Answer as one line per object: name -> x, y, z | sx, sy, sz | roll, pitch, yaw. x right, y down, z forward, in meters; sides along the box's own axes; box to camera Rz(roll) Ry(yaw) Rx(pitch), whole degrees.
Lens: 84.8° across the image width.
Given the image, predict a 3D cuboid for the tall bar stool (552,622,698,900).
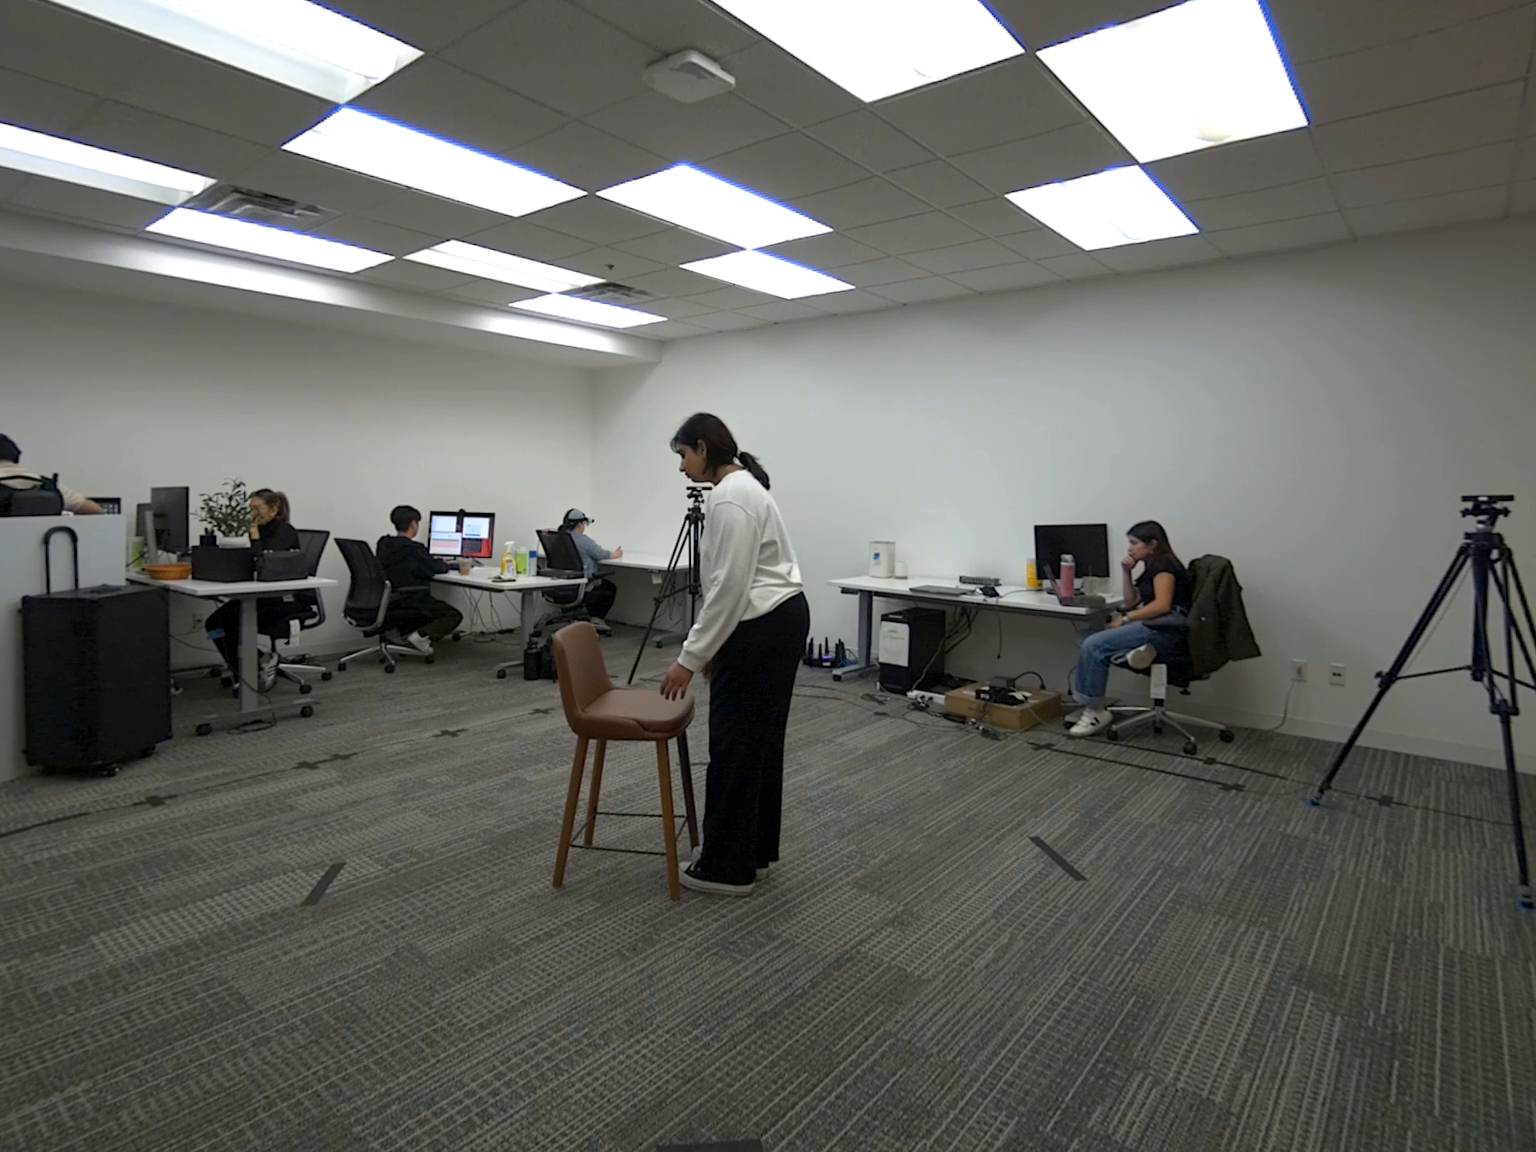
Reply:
tall bar stool -> -0.507, 0.630, 3.072 | 0.472, 0.888, 0.453 | 0, 3, 8
